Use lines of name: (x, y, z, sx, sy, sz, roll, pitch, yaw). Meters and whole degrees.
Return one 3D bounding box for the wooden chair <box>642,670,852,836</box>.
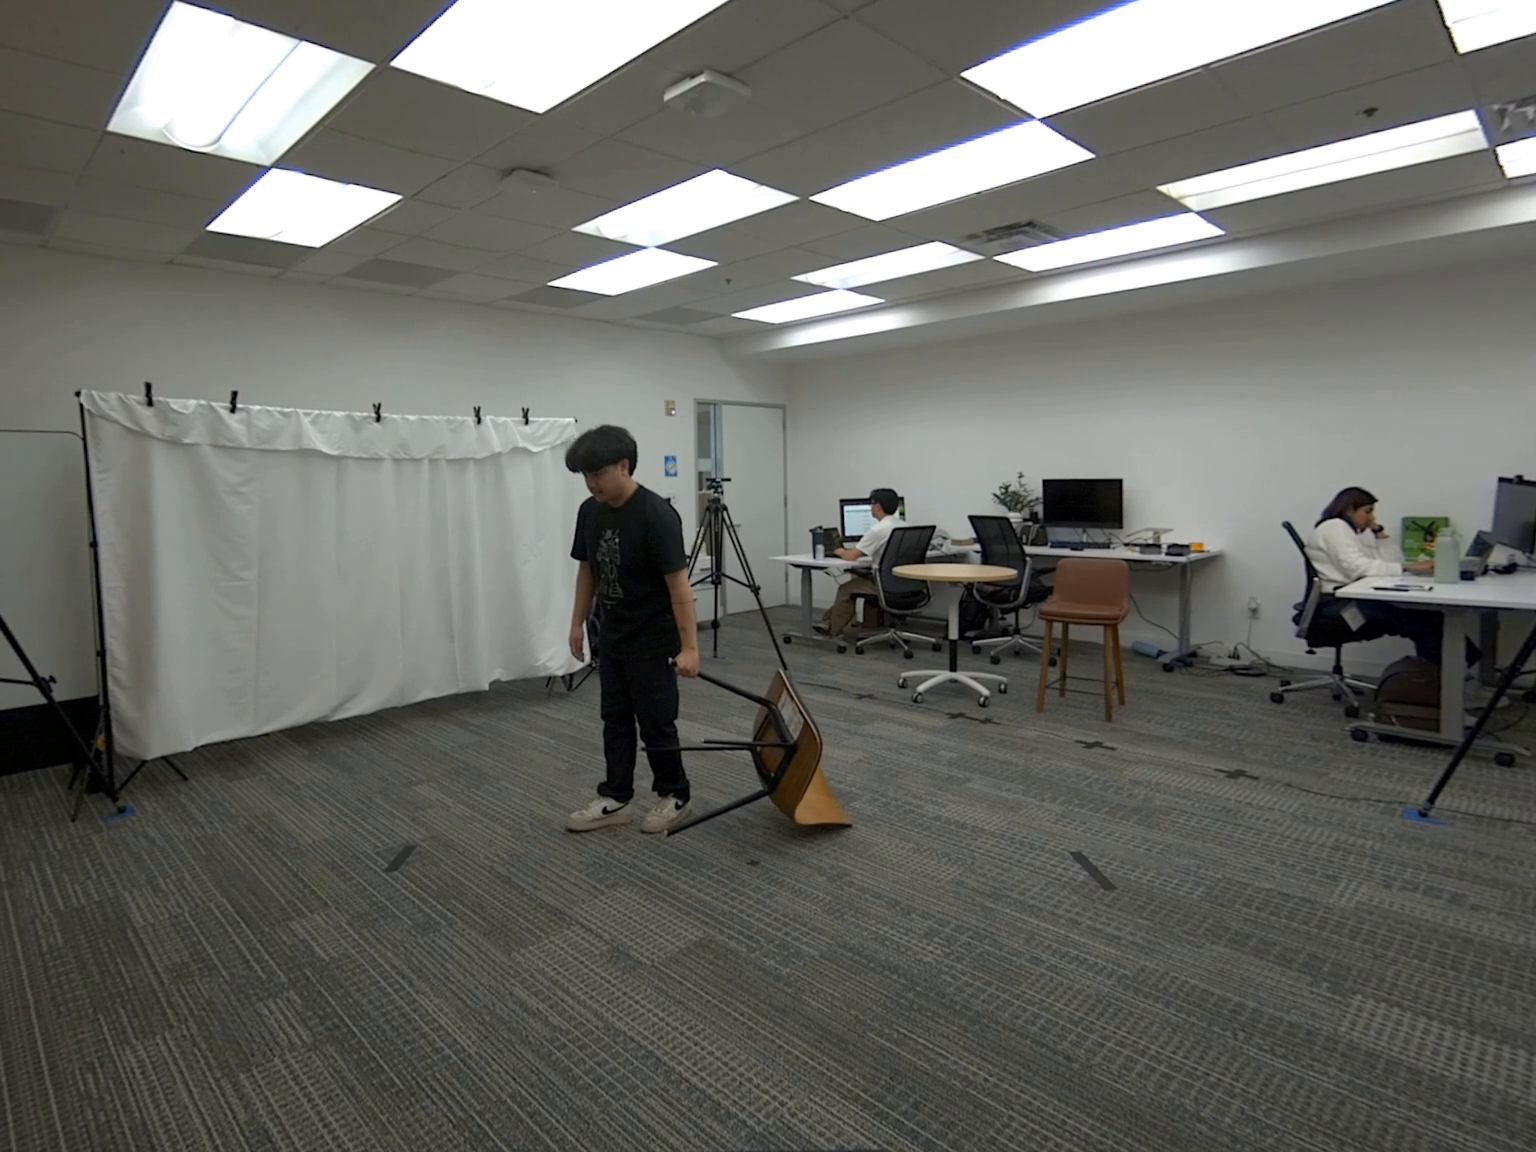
wooden chair: (0.010, 0.667, 3.317, 0.855, 0.518, 0.495, 12, 26, -26)
